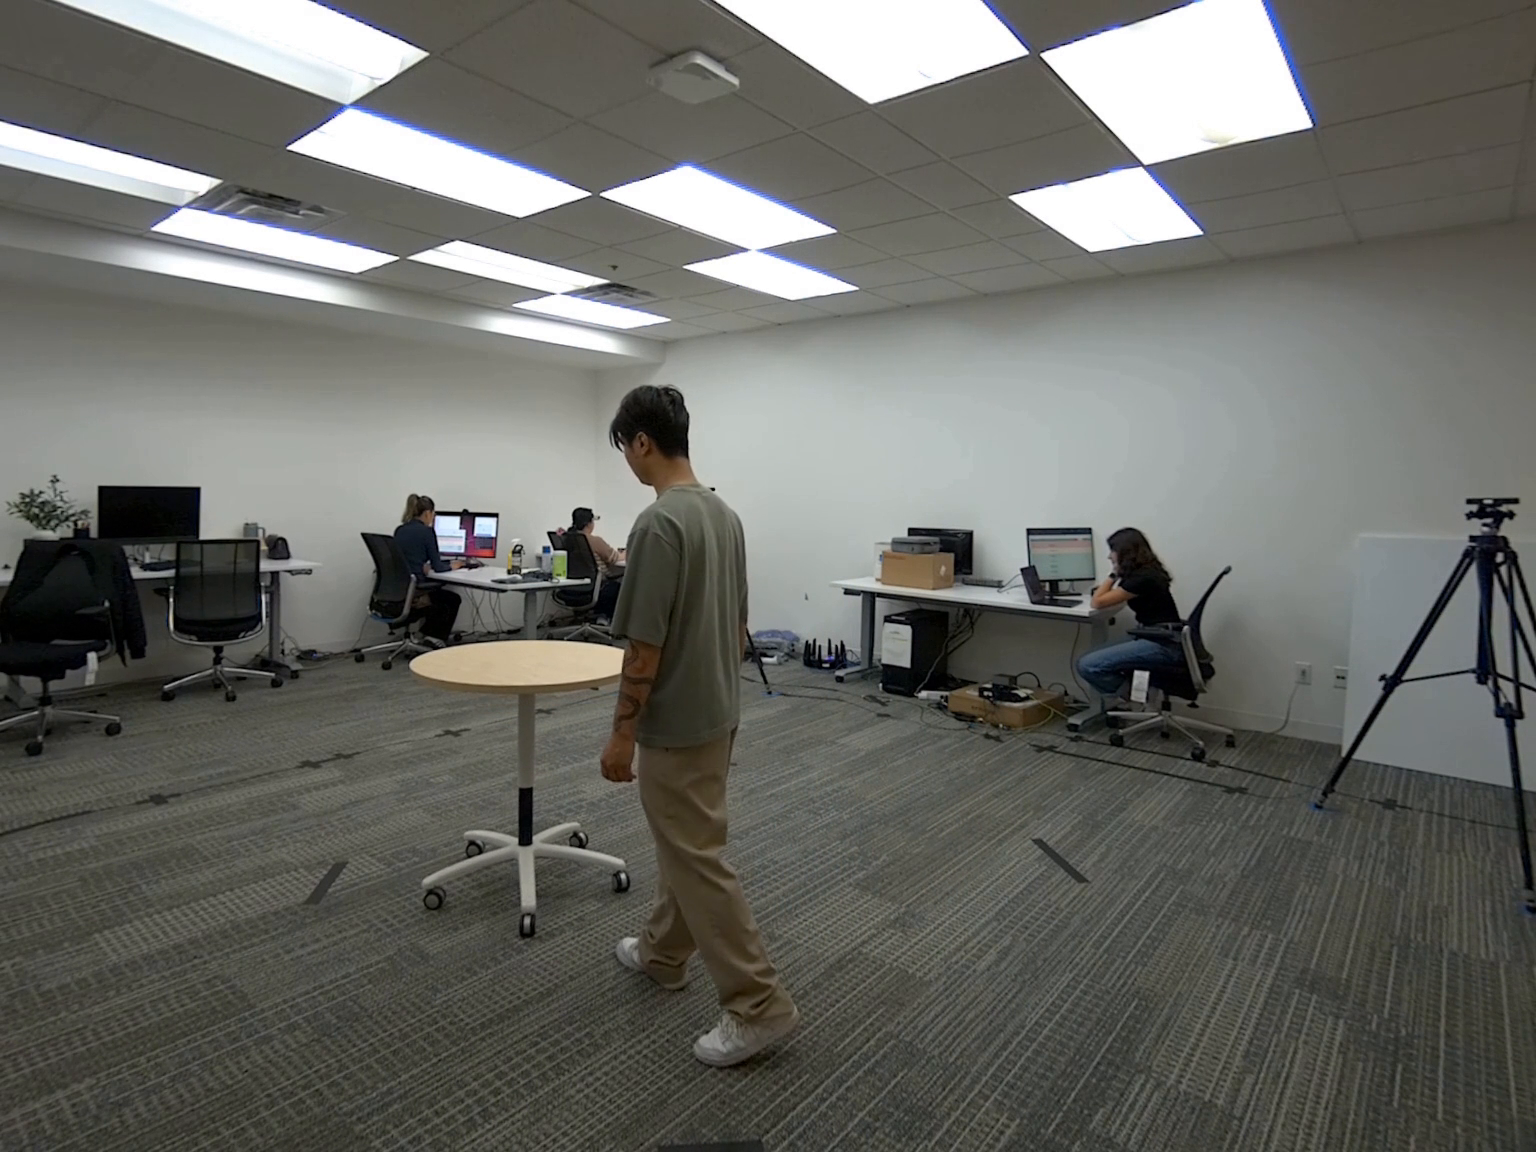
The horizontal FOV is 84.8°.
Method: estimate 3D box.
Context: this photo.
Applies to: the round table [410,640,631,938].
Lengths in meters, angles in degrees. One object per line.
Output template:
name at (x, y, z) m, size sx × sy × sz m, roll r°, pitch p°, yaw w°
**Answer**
round table at (-0.835, 0.678, 2.956) m, size 0.784 × 0.784 × 0.789 m, roll 1°, pitch 4°, yaw -2°
